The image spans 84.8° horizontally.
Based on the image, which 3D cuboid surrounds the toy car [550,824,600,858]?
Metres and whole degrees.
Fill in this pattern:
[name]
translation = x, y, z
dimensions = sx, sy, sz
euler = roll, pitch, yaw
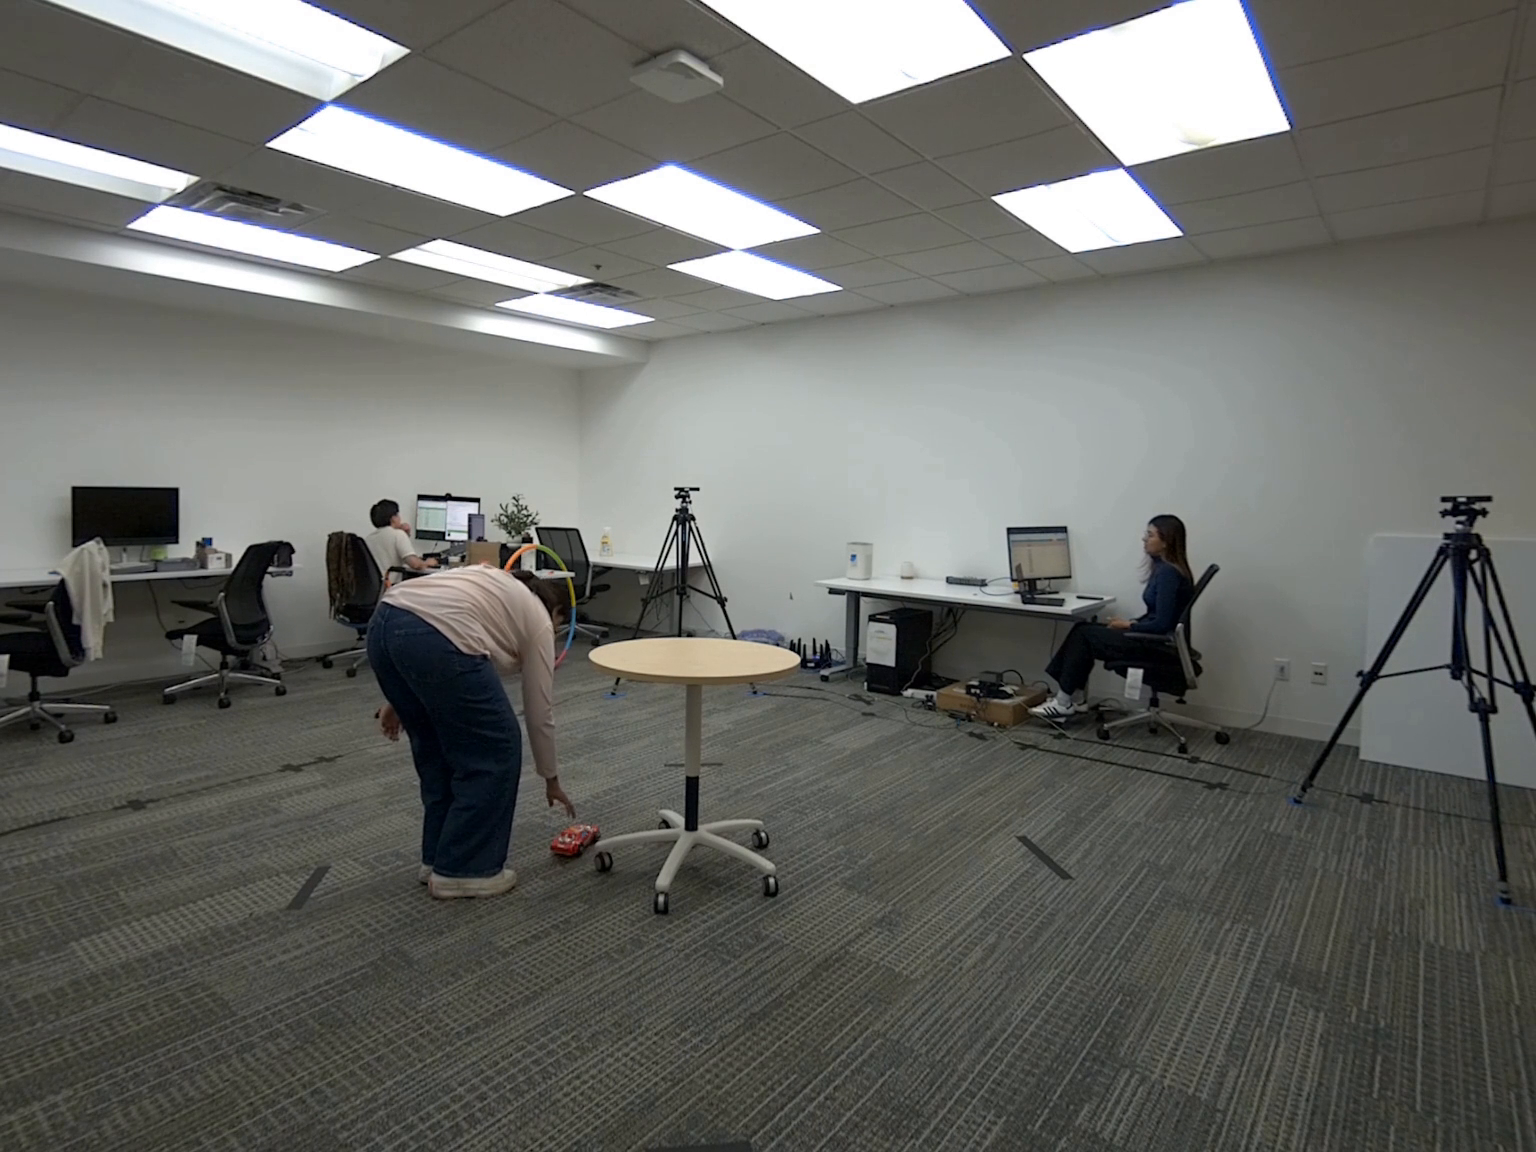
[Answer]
[toy car]
translation = -0.749, 1.009, 3.257
dimensions = 0.132, 0.084, 0.249
euler = 3, -6, 14
